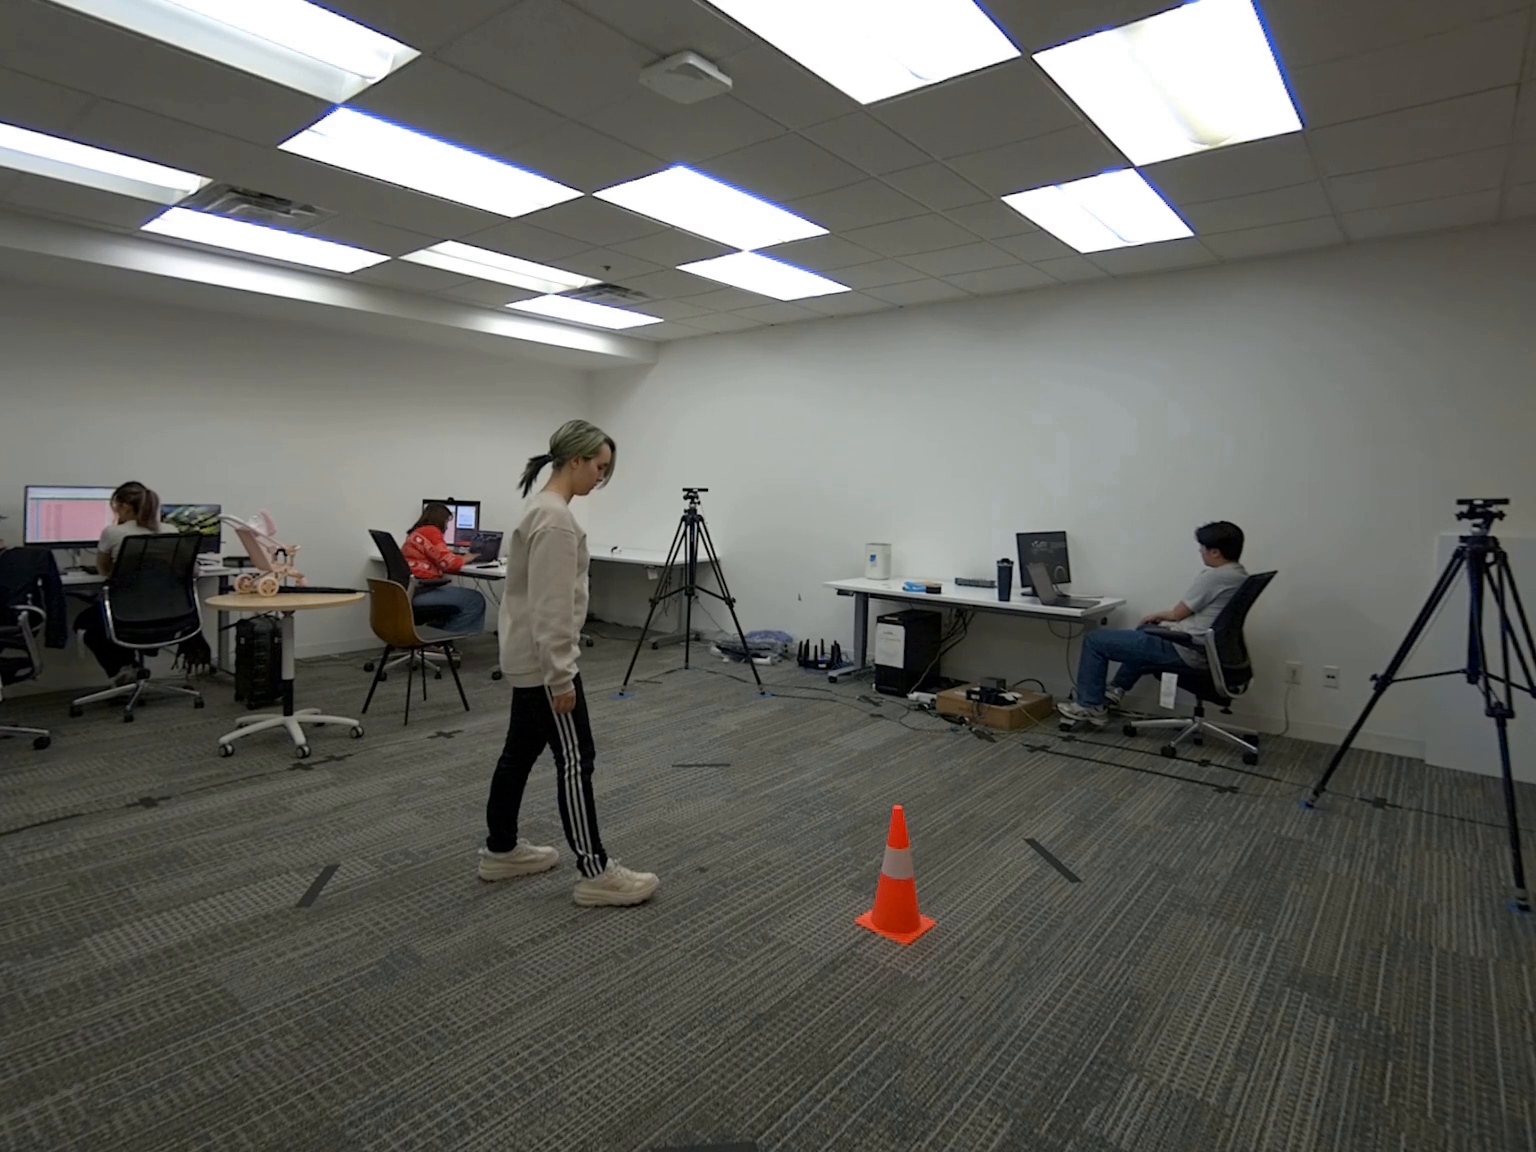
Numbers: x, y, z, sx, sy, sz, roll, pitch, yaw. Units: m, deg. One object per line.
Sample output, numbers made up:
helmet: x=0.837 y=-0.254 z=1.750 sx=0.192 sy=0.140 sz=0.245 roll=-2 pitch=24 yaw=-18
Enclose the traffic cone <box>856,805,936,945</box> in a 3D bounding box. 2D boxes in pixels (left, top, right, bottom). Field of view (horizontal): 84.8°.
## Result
traffic cone: x=0.409 y=0.934 z=2.741 sx=0.210 sy=0.382 sz=0.199 roll=4 pitch=5 yaw=43
